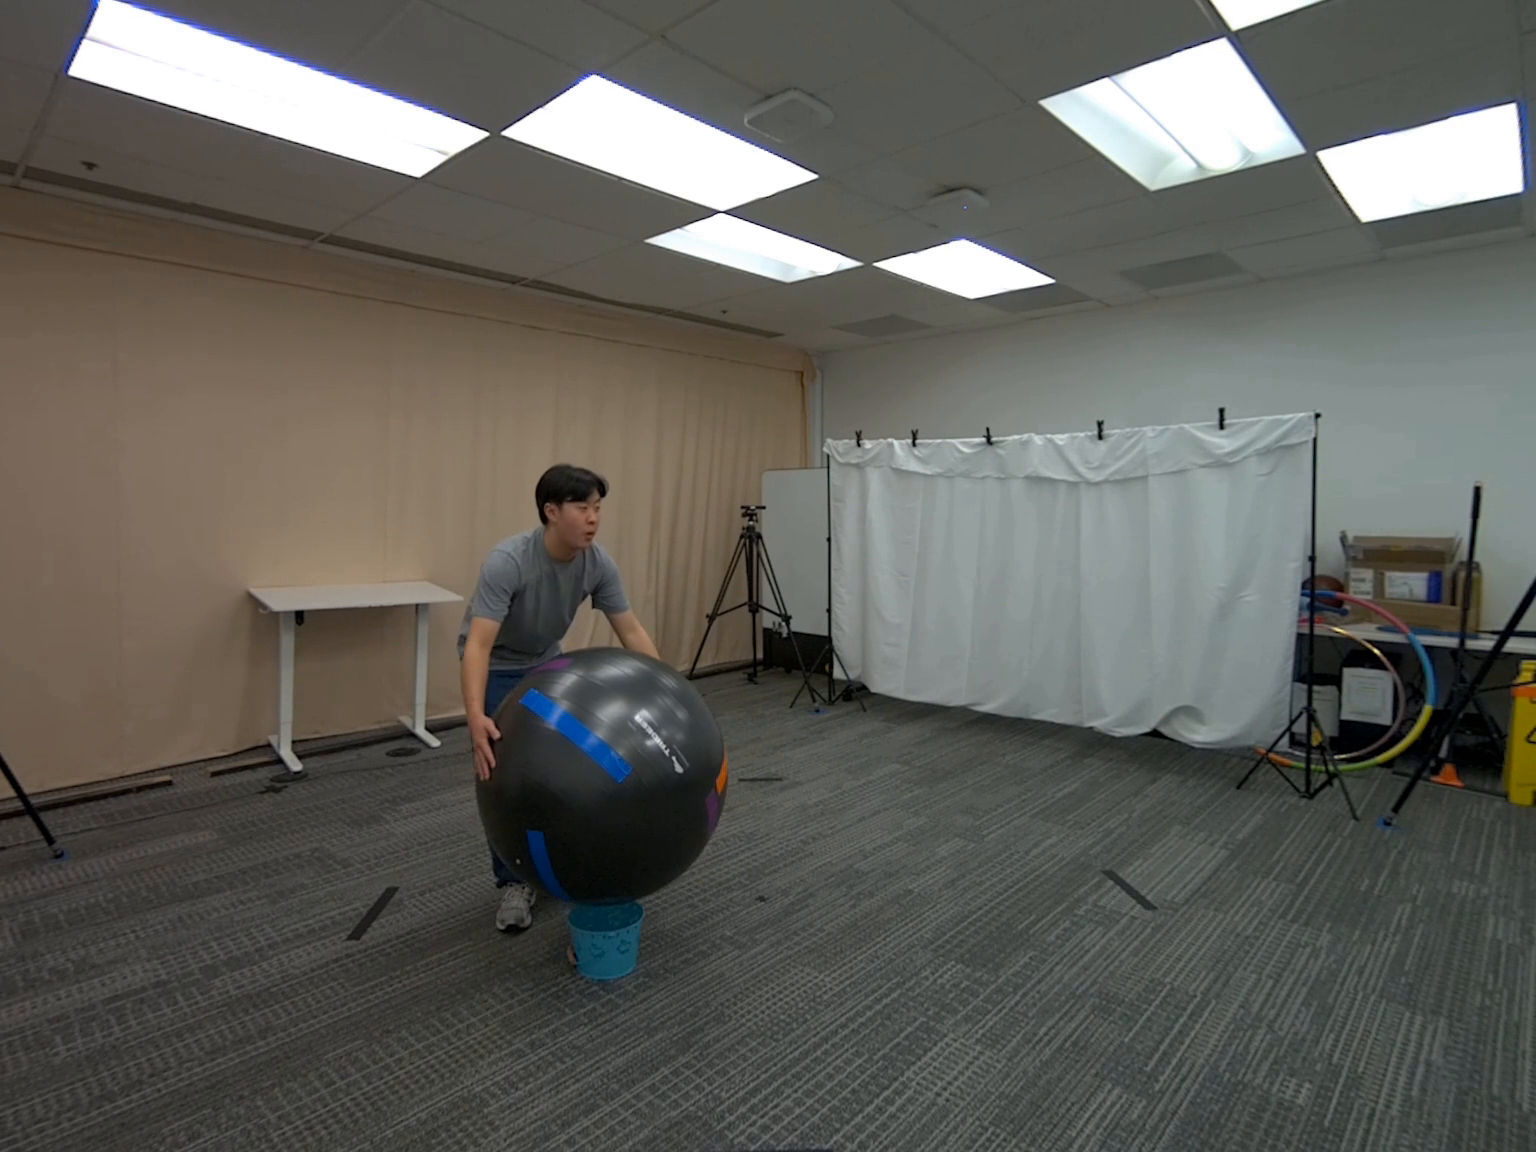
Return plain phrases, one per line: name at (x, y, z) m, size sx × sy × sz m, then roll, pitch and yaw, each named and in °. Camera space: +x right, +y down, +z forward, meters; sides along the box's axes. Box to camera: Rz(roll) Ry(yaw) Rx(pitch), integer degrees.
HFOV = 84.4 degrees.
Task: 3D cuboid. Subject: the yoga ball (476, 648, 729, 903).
yoga ball at (-0.499, 0.599, 2.565) m, size 0.757 × 0.756 × 0.760 m, roll 0°, pitch 4°, yaw -2°
